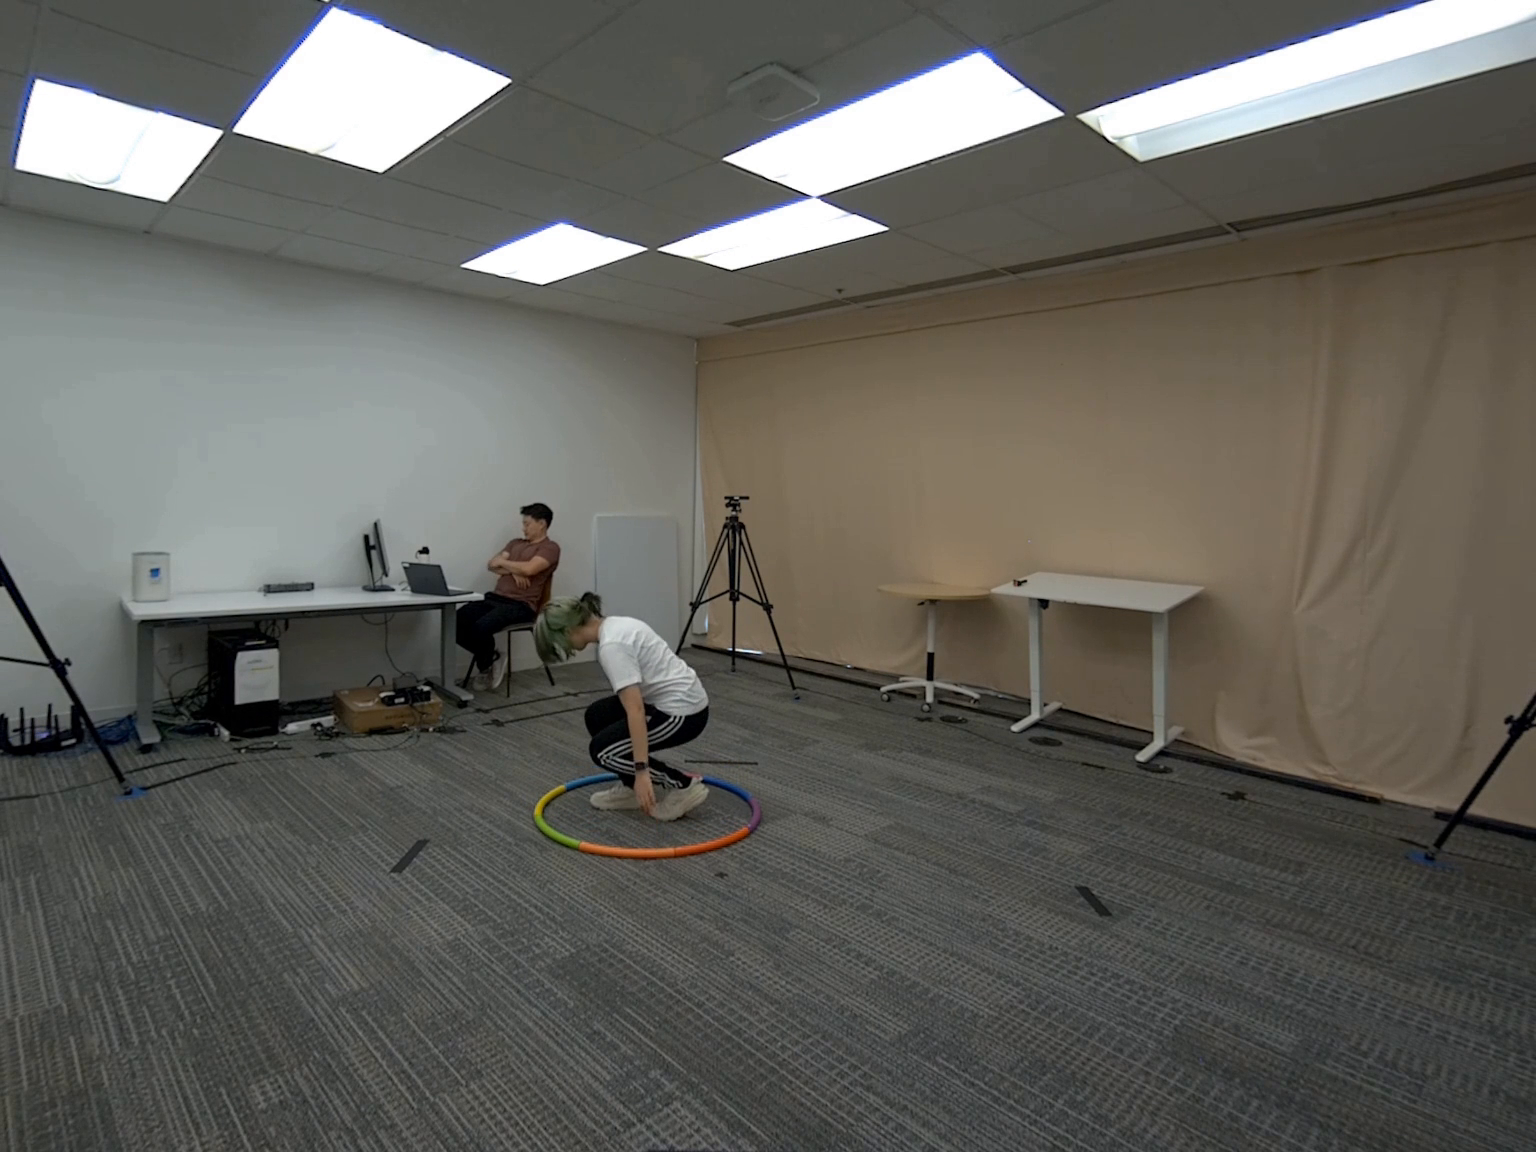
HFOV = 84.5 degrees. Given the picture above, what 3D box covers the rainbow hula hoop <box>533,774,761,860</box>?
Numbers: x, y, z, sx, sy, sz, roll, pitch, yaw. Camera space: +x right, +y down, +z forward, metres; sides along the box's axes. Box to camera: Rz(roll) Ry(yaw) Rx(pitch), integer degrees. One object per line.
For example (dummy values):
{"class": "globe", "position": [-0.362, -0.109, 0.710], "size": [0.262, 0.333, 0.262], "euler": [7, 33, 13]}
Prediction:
{"class": "rainbow hula hoop", "position": [-0.531, 1.015, 3.705], "size": [0.985, 0.051, 0.989], "euler": [2, 5, -1]}
